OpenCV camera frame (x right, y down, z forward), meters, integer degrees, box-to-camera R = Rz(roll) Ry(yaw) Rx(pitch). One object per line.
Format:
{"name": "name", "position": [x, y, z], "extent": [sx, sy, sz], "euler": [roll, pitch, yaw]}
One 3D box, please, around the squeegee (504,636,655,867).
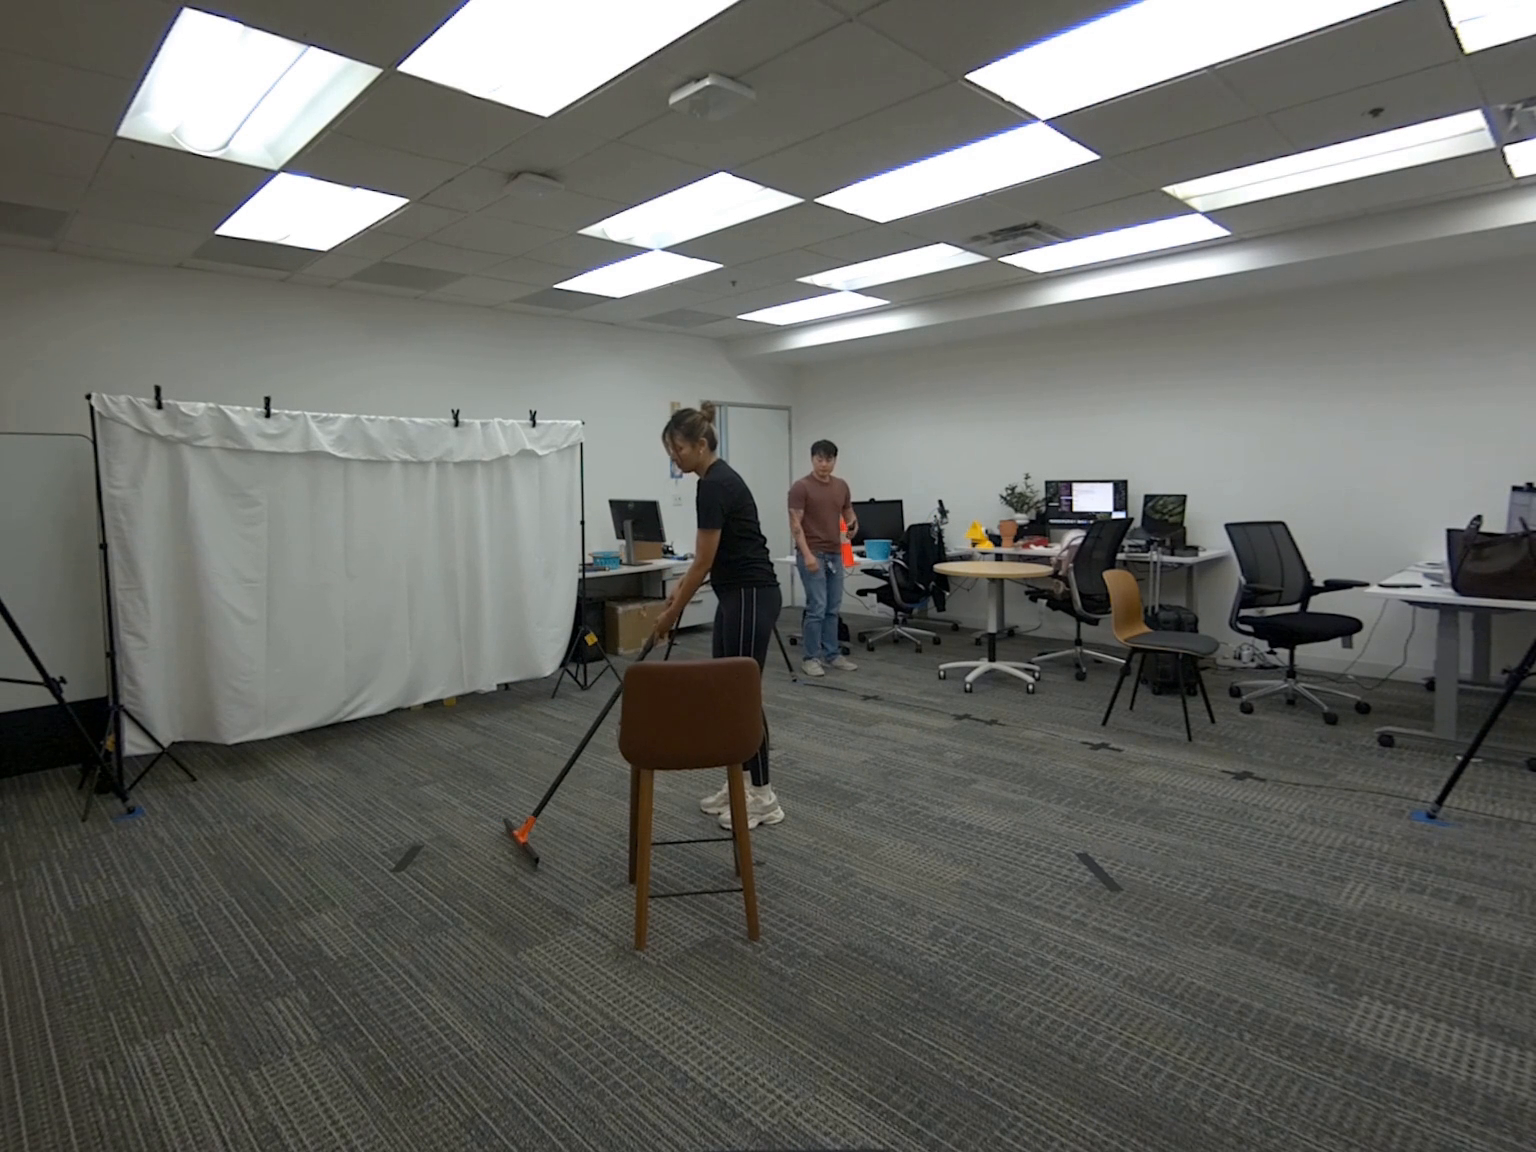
{"name": "squeegee", "position": [-0.553, 0.406, 3.426], "extent": [0.051, 1.541, 0.449], "euler": [42, -16, -26]}
